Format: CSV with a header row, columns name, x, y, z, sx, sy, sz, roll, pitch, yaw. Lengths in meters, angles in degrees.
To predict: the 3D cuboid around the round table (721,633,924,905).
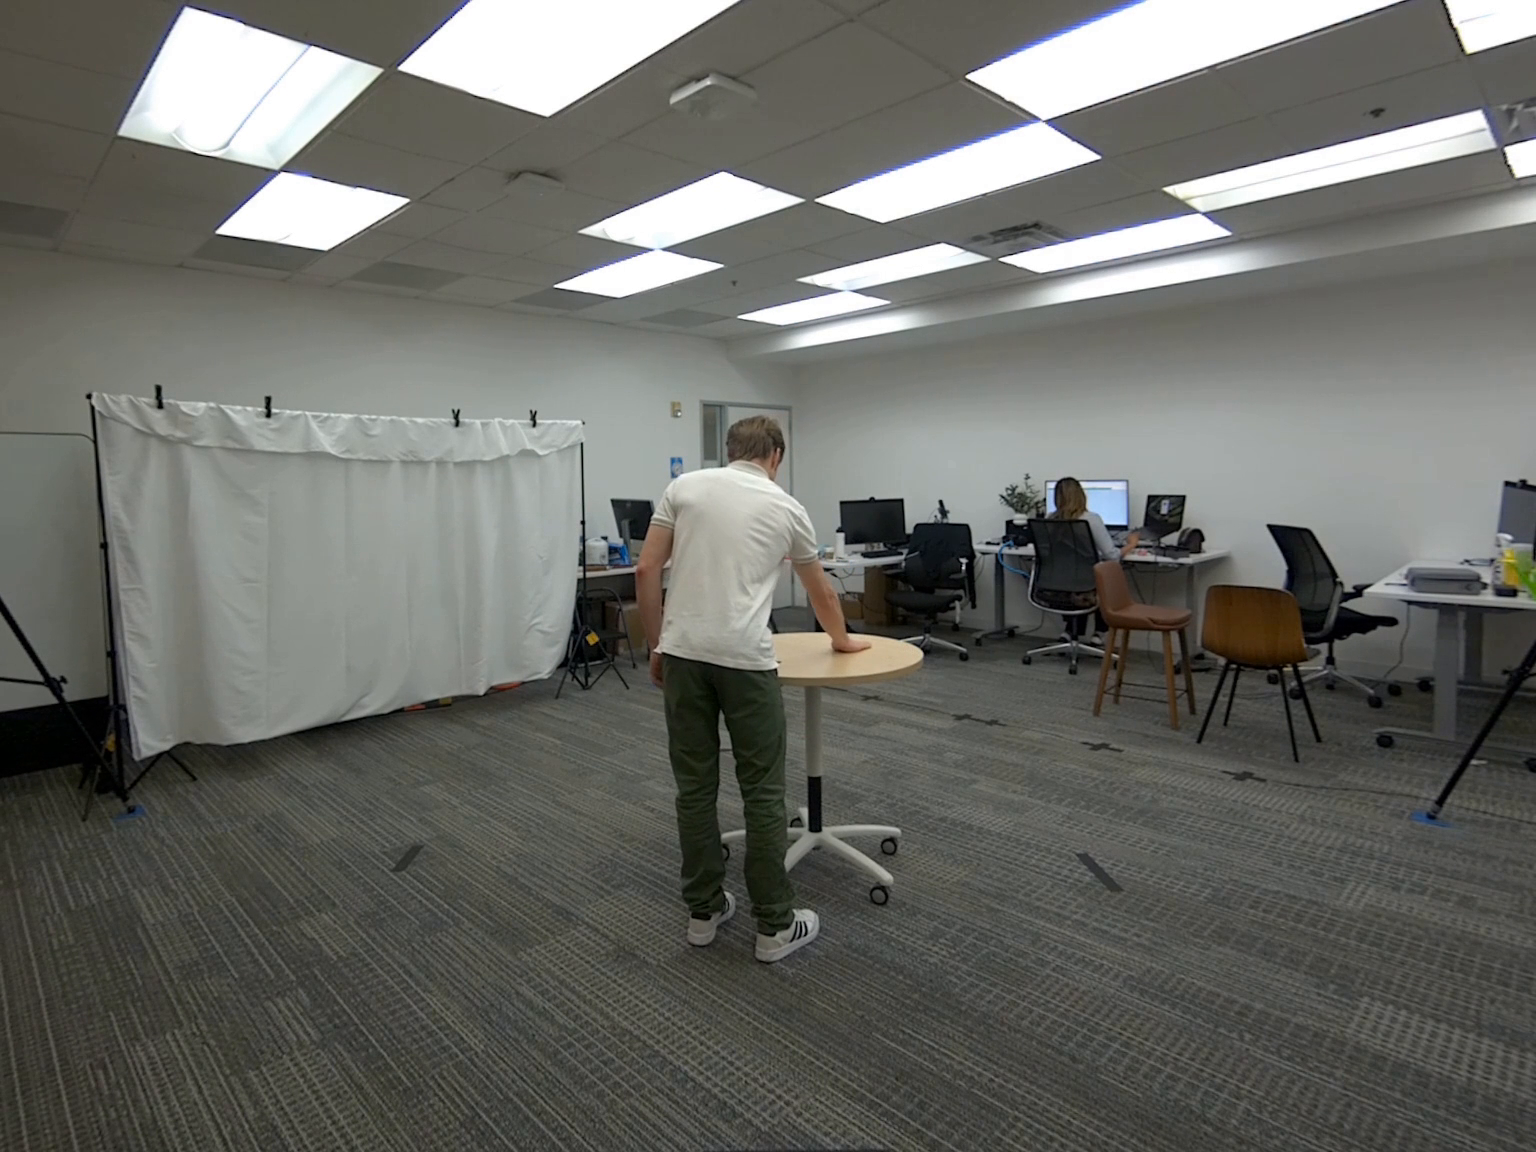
name,x,y,z,sx,sy,sz,roll,pitch,yaw
round table,0.182,0.656,3.045,0.784,0.783,0.789,-2,5,-2
